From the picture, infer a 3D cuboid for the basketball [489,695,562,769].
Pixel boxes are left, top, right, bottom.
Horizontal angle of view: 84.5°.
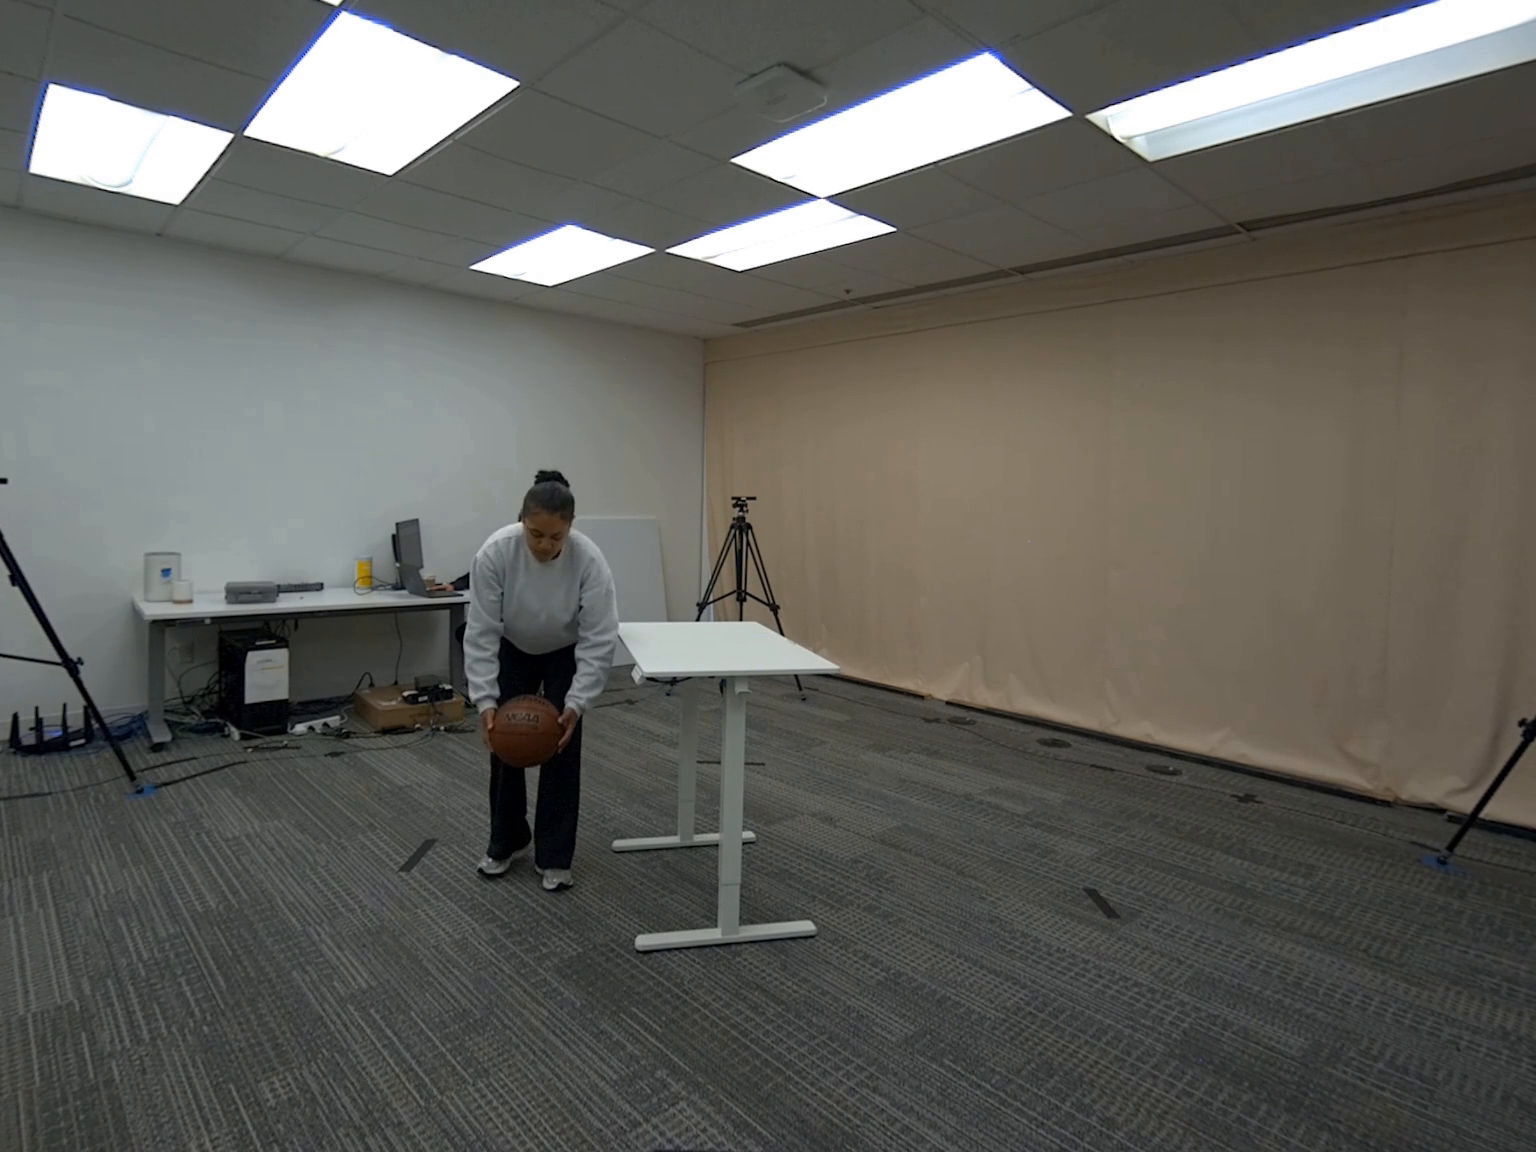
[{"bbox_3d":[-0.826,0.518,2.820,0.236,0.235,0.237,1,4,-1],"label":"basketball"}]
